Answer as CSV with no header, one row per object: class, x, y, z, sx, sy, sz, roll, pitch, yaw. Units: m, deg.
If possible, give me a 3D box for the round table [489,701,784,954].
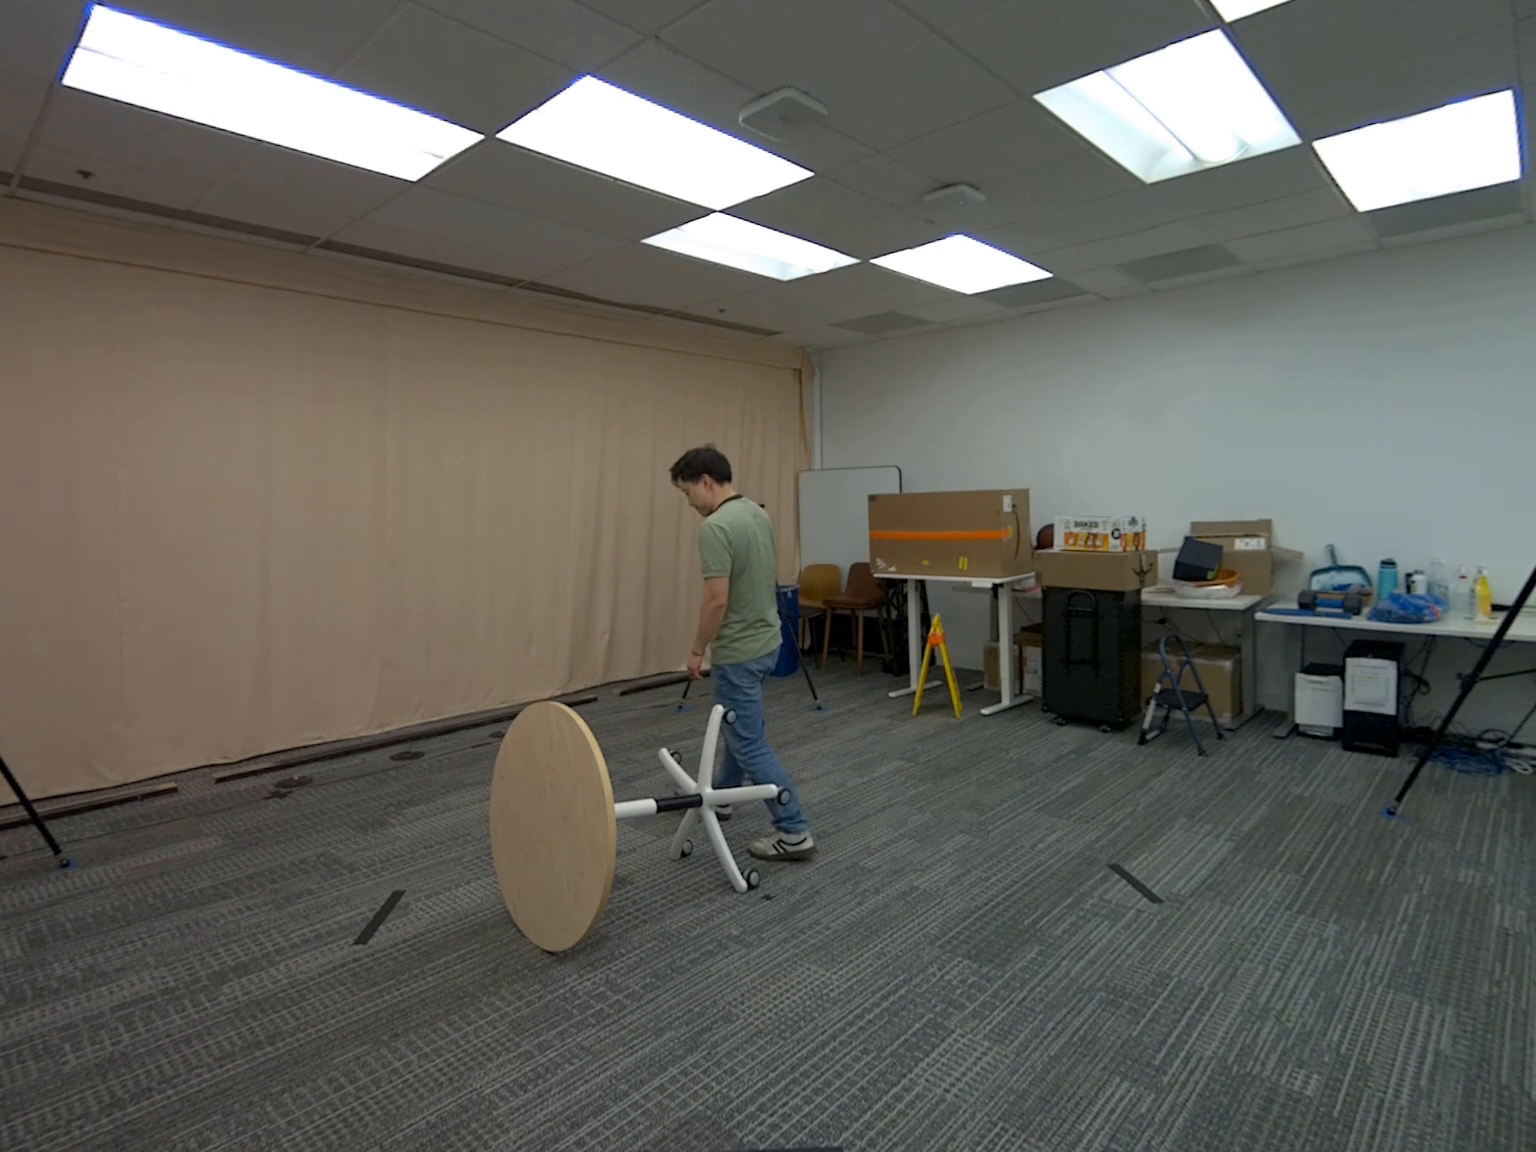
round table,-0.436,0.820,2.969,0.767,0.764,0.789,6,-1,-42
